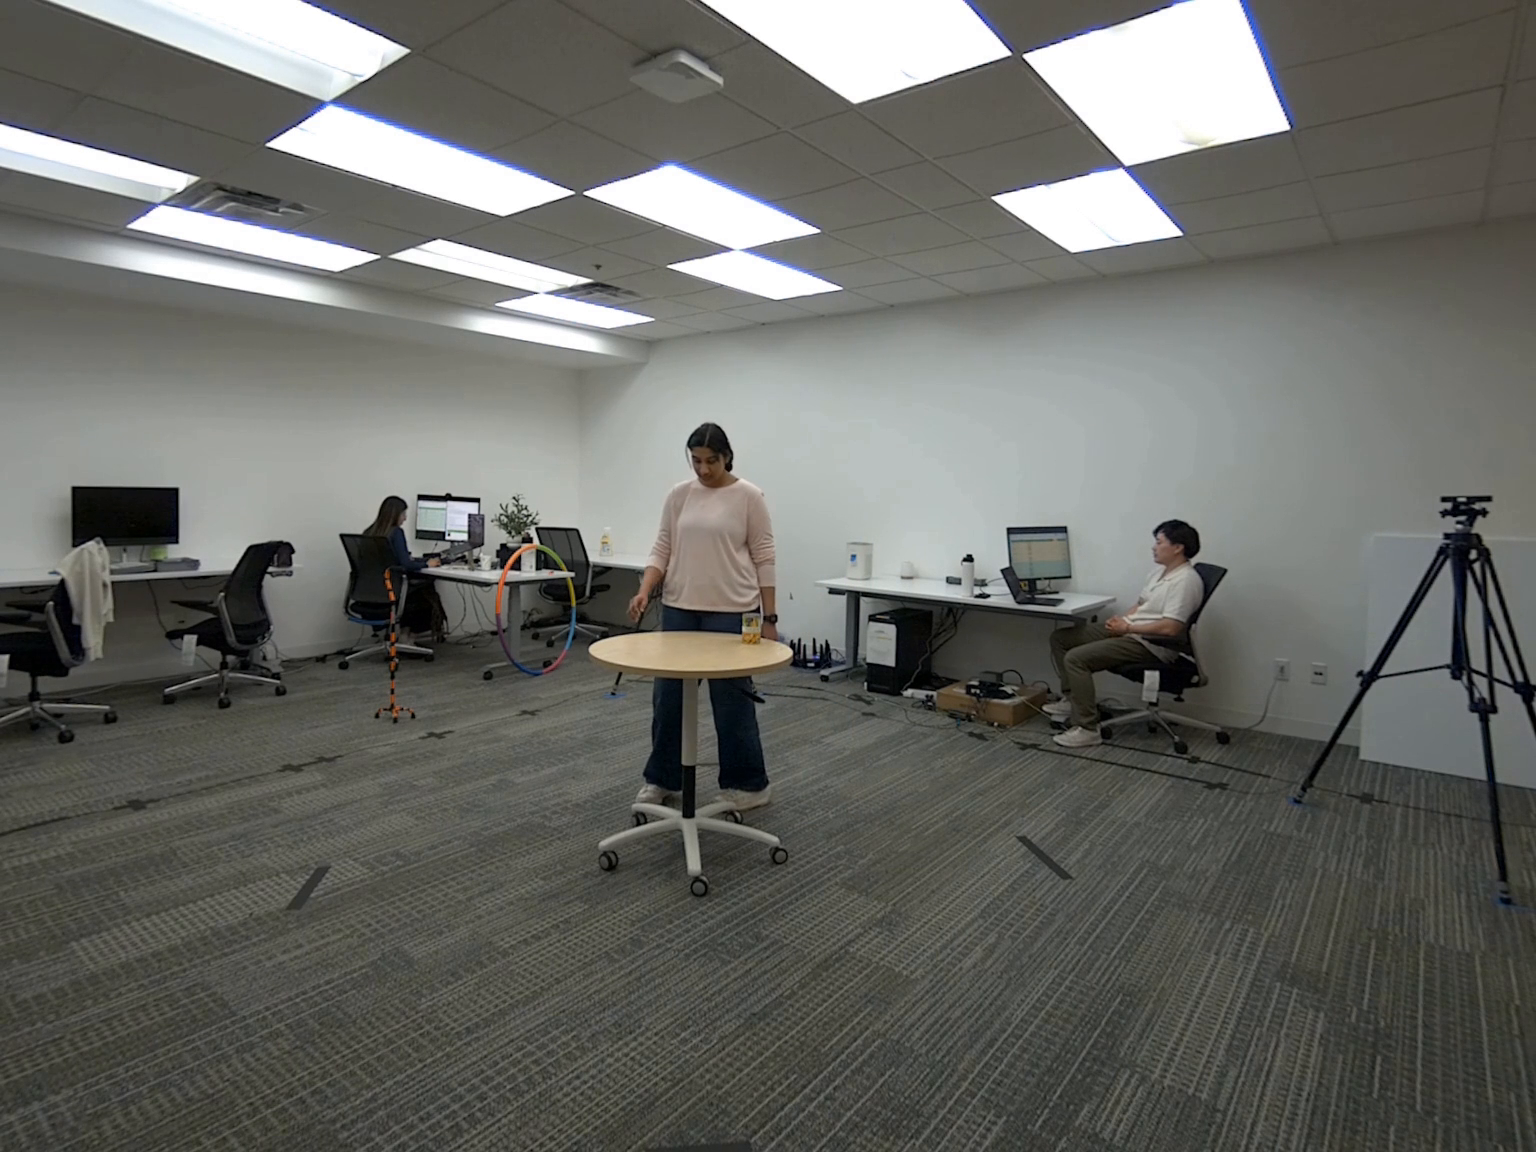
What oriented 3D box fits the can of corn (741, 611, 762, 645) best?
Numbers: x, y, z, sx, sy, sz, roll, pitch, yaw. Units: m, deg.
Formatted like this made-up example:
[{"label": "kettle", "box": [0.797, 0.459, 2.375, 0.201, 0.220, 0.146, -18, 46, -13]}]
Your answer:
[{"label": "can of corn", "box": [-0.086, 0.203, 3.351, 0.074, 0.111, 0.074, 2, 2, -2]}]
